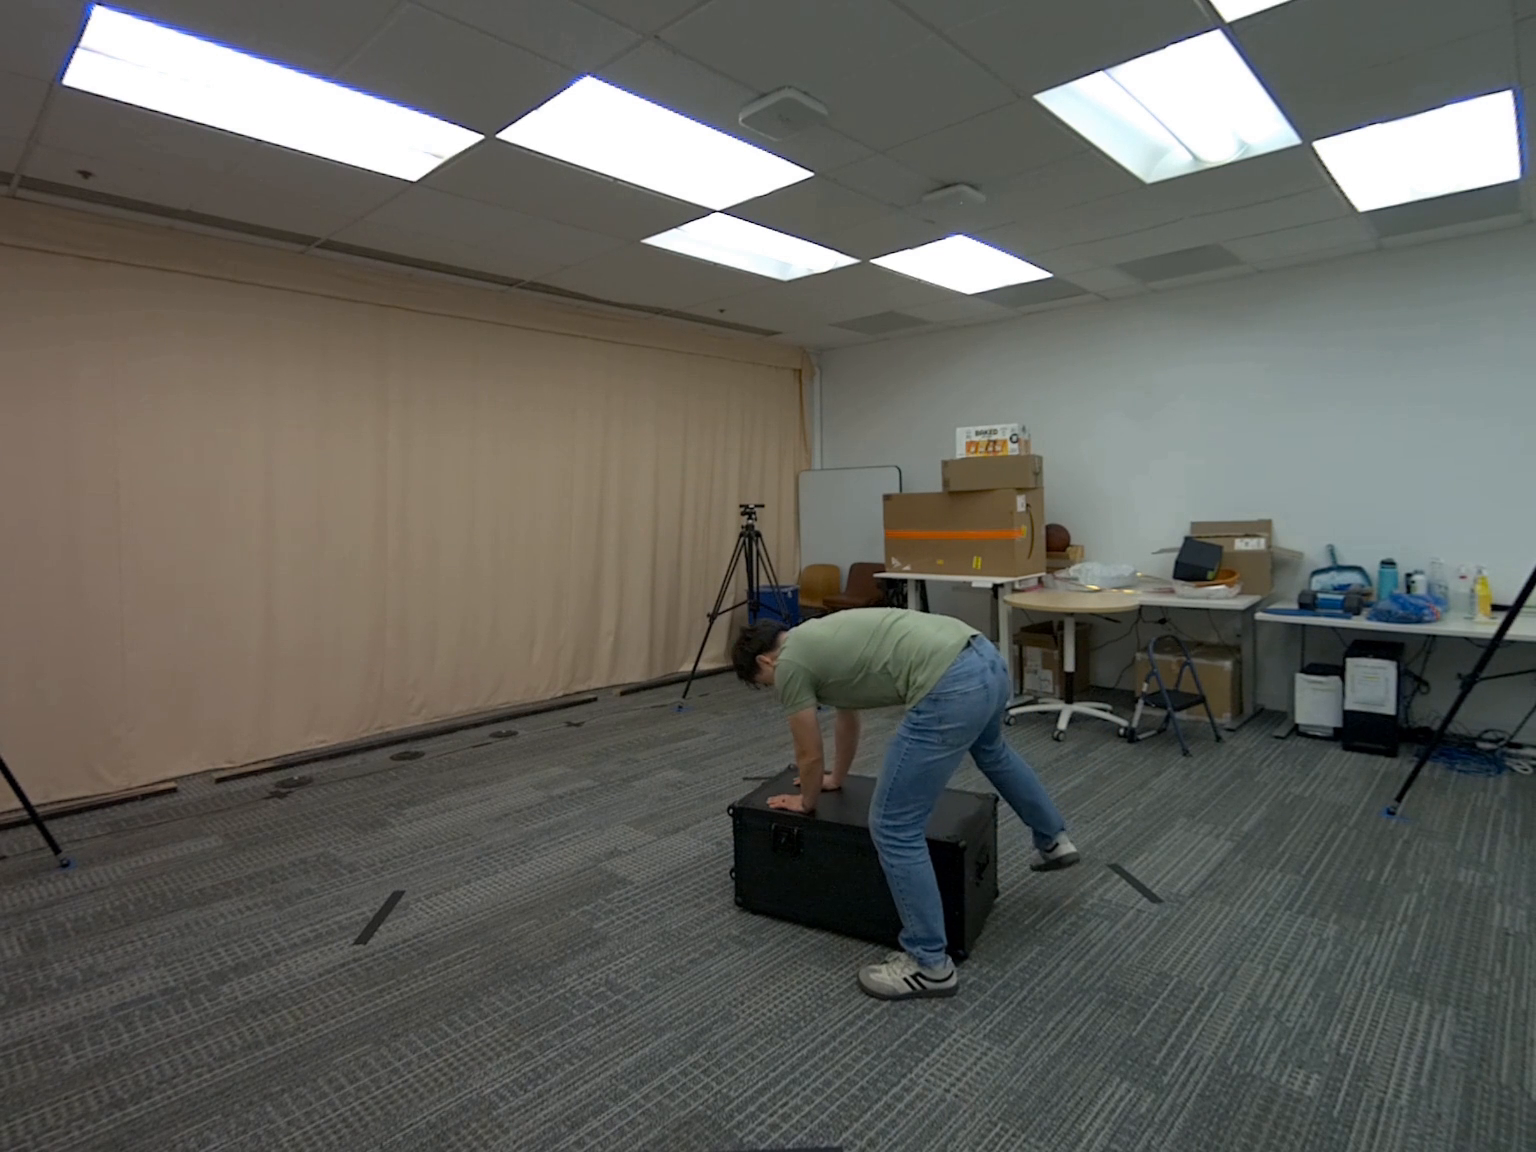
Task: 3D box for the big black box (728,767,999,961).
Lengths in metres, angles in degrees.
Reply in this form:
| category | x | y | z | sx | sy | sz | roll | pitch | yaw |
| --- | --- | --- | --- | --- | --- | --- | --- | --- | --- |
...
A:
| category | x | y | z | sx | sy | sz | roll | pitch | yaw |
| --- | --- | --- | --- | --- | --- | --- | --- | --- | --- |
| big black box | 0.313 | 0.955 | 2.908 | 0.885 | 0.395 | 0.508 | 2 | 5 | 28 |
